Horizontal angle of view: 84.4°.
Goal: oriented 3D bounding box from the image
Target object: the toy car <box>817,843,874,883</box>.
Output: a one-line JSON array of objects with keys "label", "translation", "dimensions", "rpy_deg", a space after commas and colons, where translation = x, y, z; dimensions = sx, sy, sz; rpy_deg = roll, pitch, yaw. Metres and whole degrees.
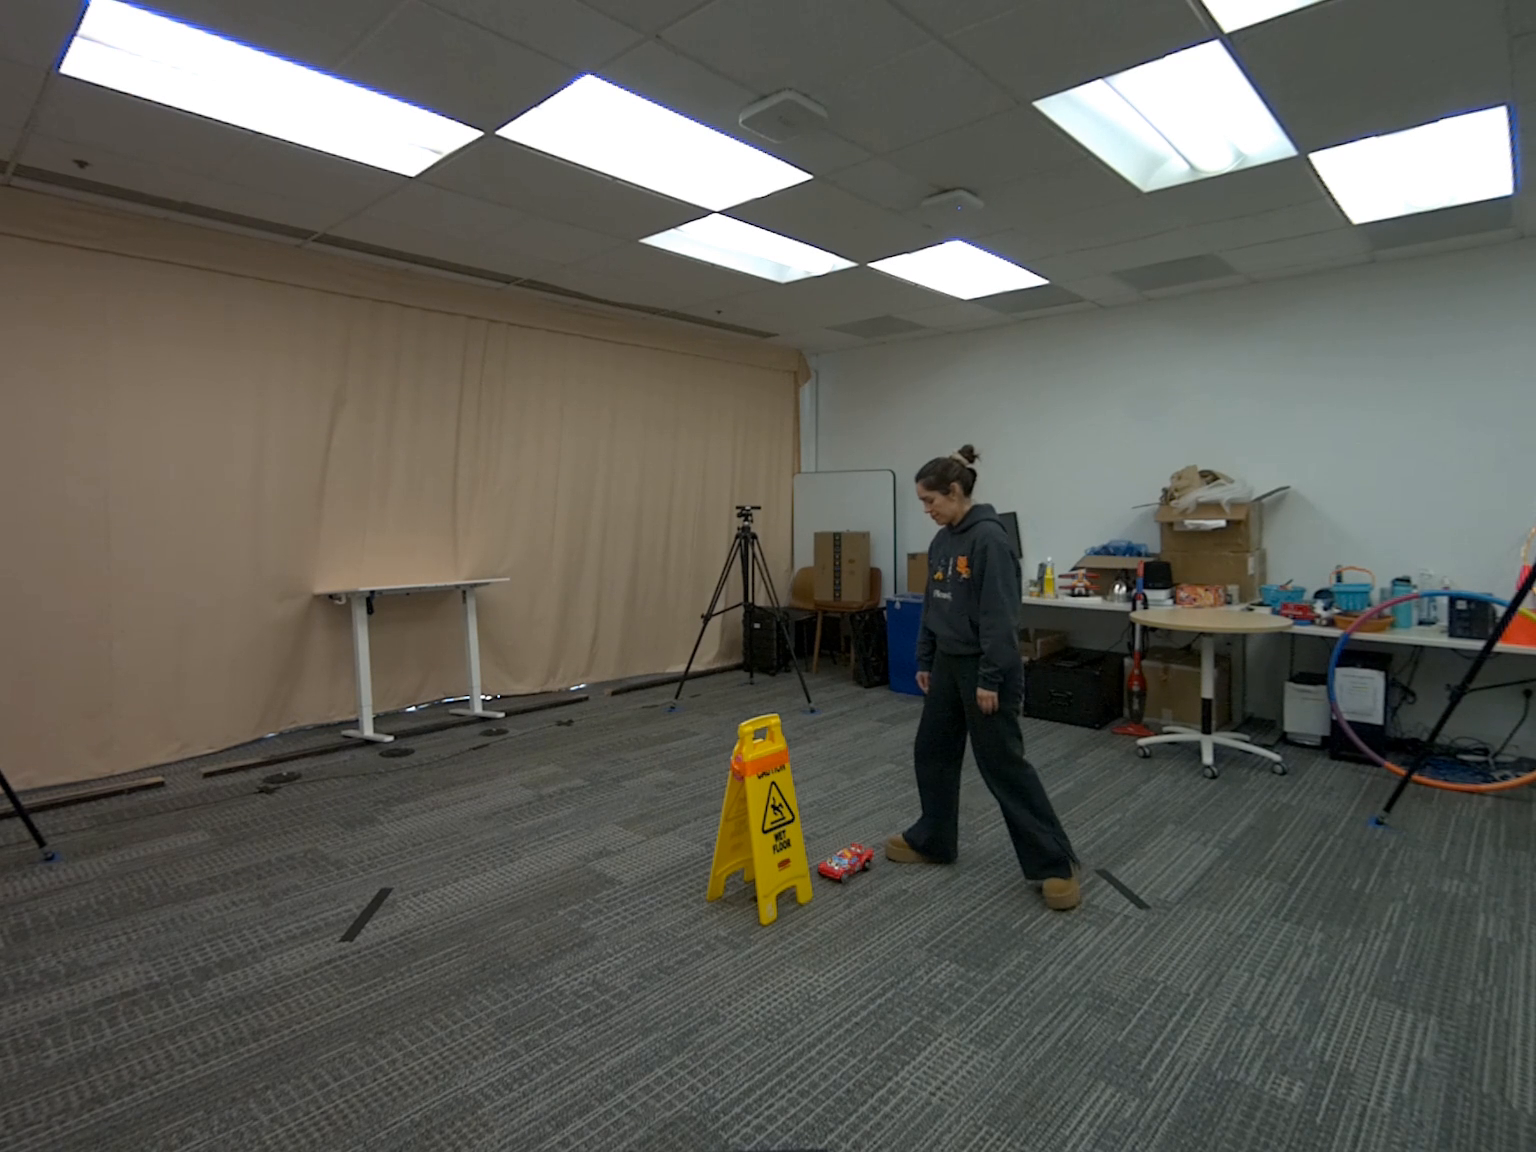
[{"label": "toy car", "translation": [0.324, 1.087, 3.205], "dimensions": [0.134, 0.082, 0.248], "rpy_deg": [3, 17, 43]}]
